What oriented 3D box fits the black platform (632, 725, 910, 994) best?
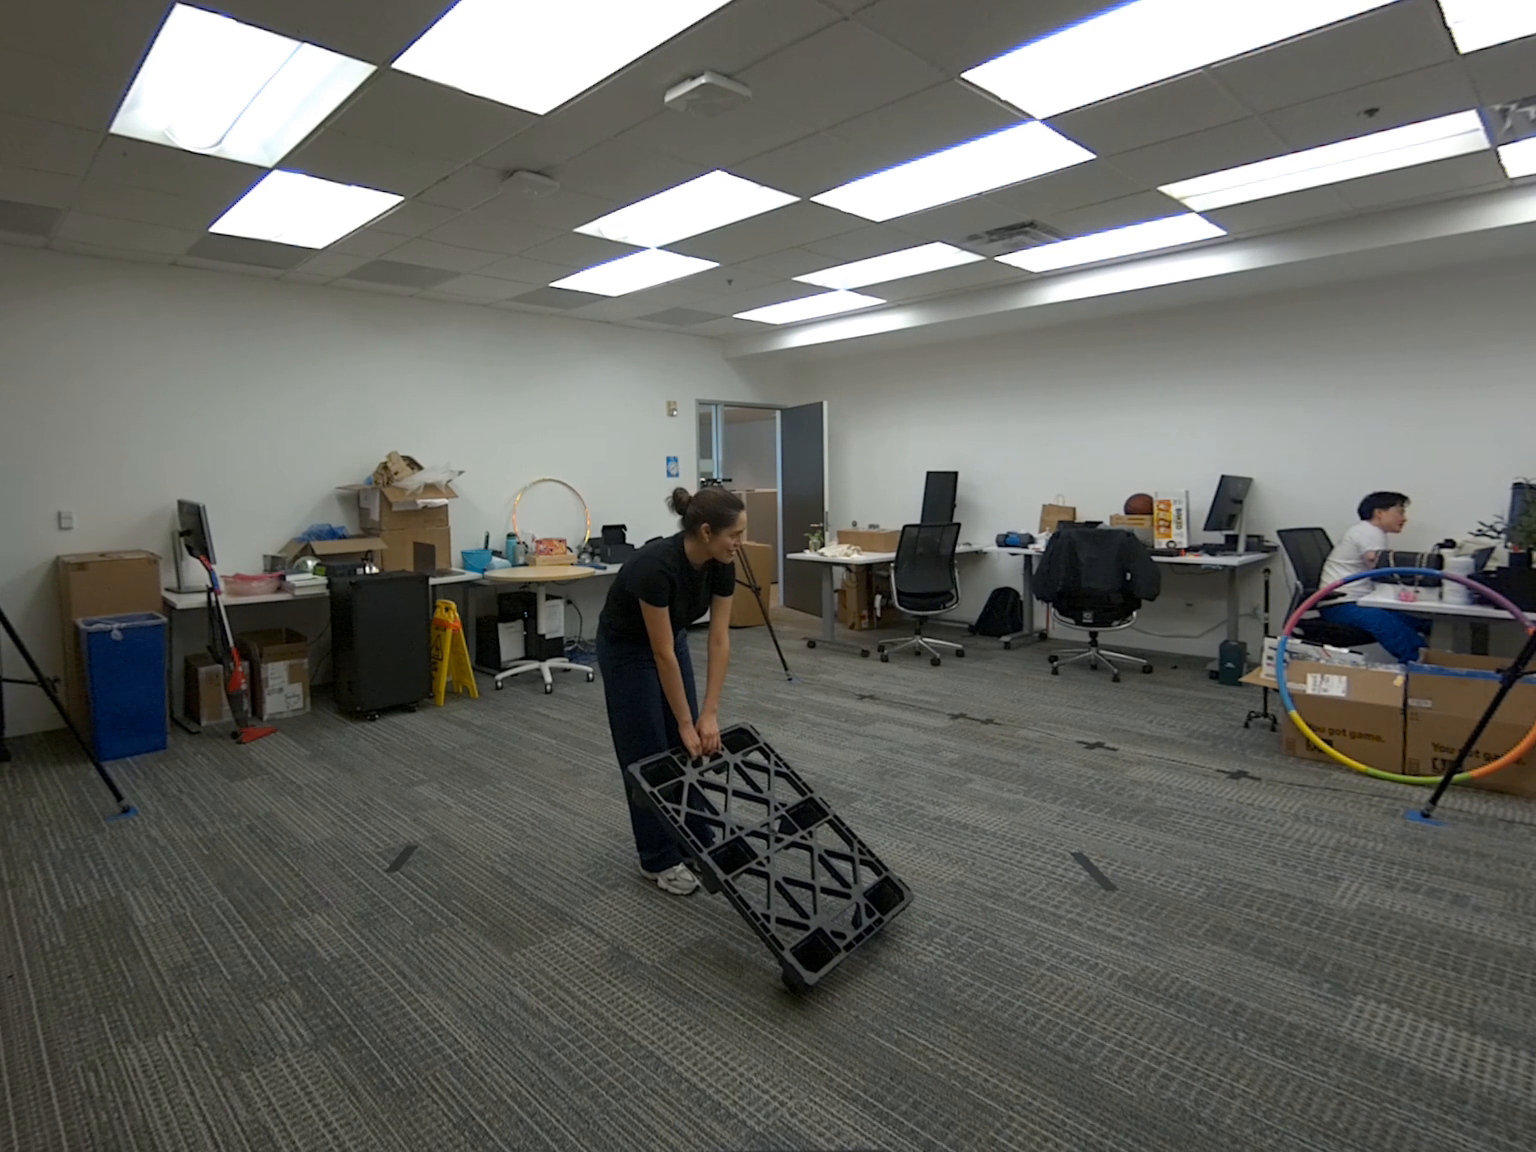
[{"bbox_3d":[-0.011,0.834,2.674,0.833,0.142,0.590,42,28,28],"label":"black platform"}]
